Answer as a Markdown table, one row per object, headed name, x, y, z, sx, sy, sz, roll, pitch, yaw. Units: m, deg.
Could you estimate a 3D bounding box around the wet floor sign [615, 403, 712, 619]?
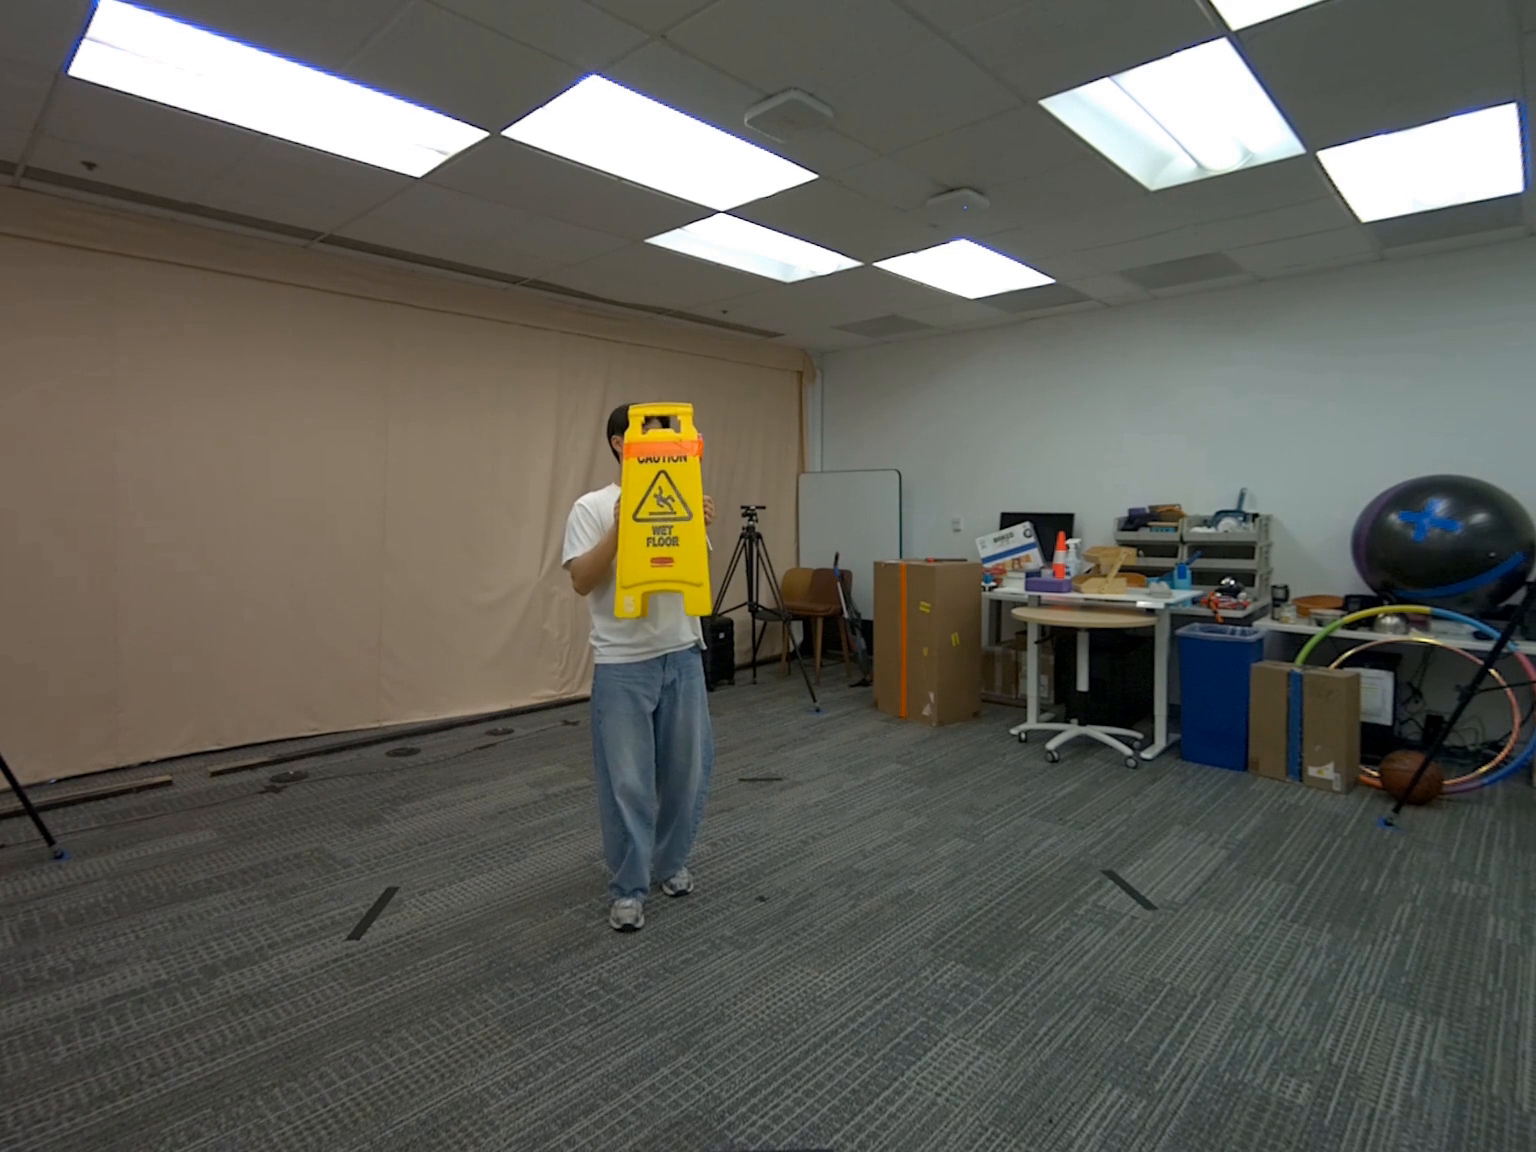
| name | x | y | z | sx | sy | sz | roll | pitch | yaw |
| --- | --- | --- | --- | --- | --- | --- | --- | --- | --- |
| wet floor sign | -0.322 | -0.203 | 2.567 | 0.283 | 0.648 | 0.288 | 2 | -5 | 1 |
